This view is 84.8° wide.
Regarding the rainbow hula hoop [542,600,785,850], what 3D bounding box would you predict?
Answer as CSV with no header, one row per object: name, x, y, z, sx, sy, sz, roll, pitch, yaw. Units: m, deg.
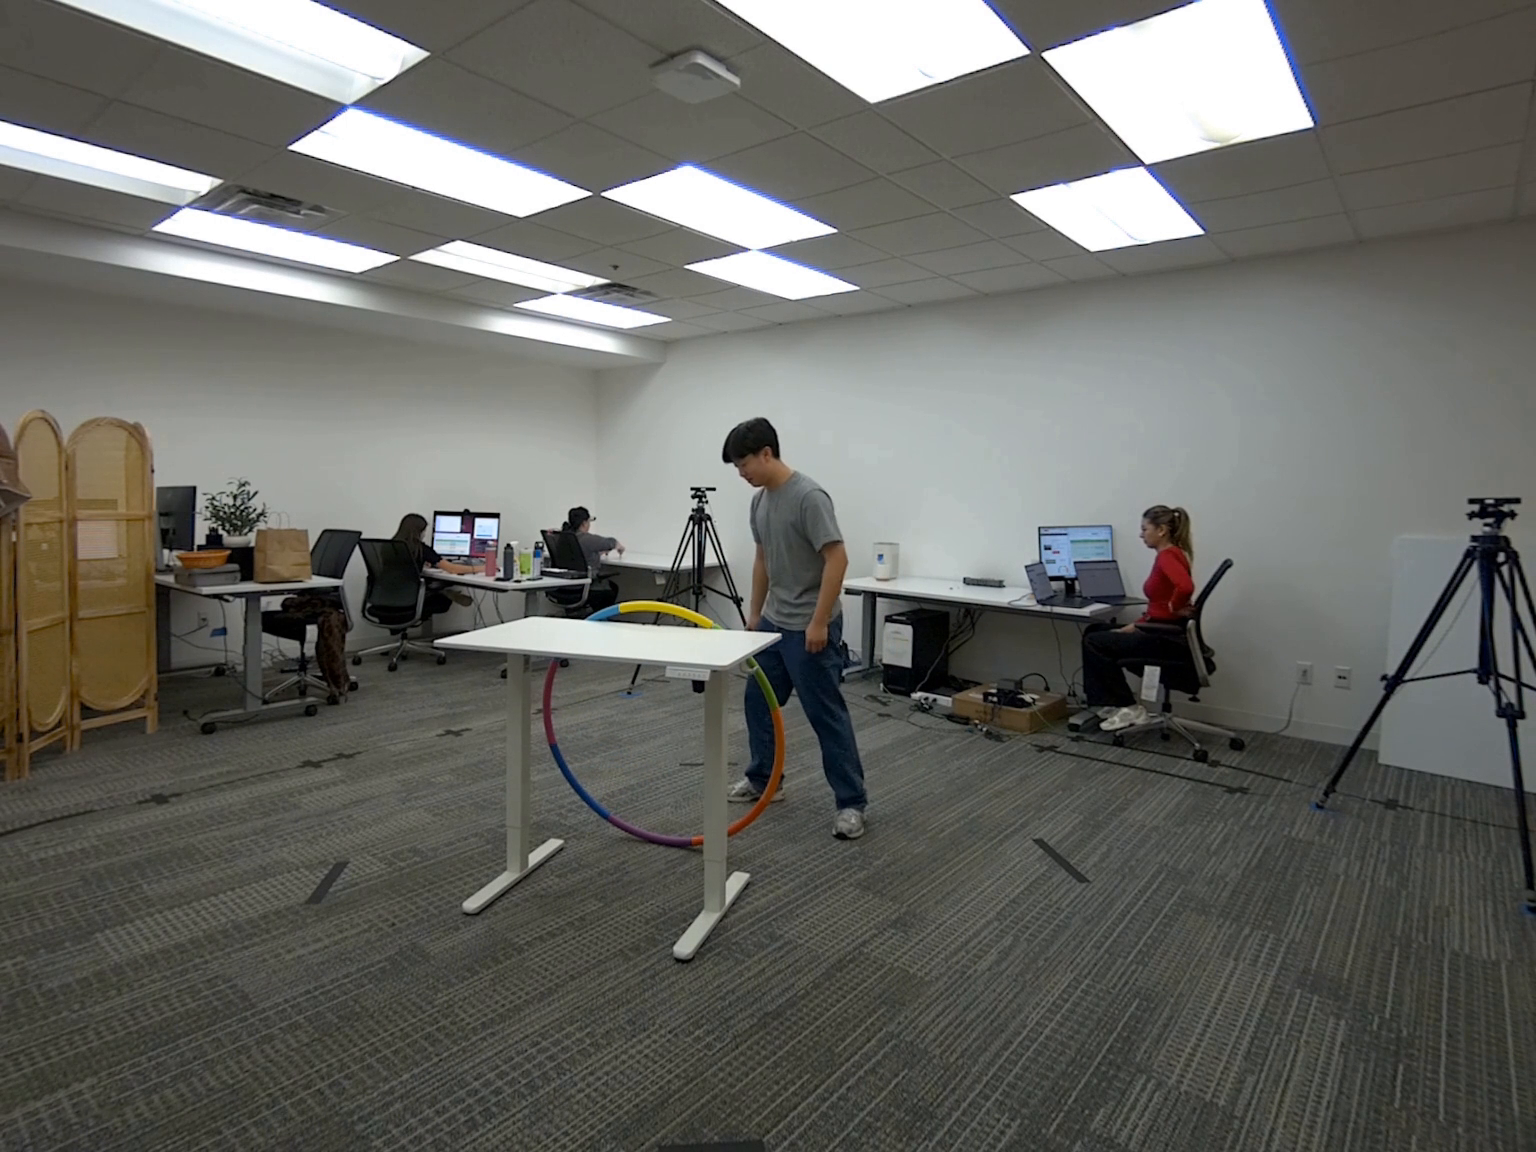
rainbow hula hoop,-0.427,0.573,3.222,0.998,0.967,0.035,3,12,18
